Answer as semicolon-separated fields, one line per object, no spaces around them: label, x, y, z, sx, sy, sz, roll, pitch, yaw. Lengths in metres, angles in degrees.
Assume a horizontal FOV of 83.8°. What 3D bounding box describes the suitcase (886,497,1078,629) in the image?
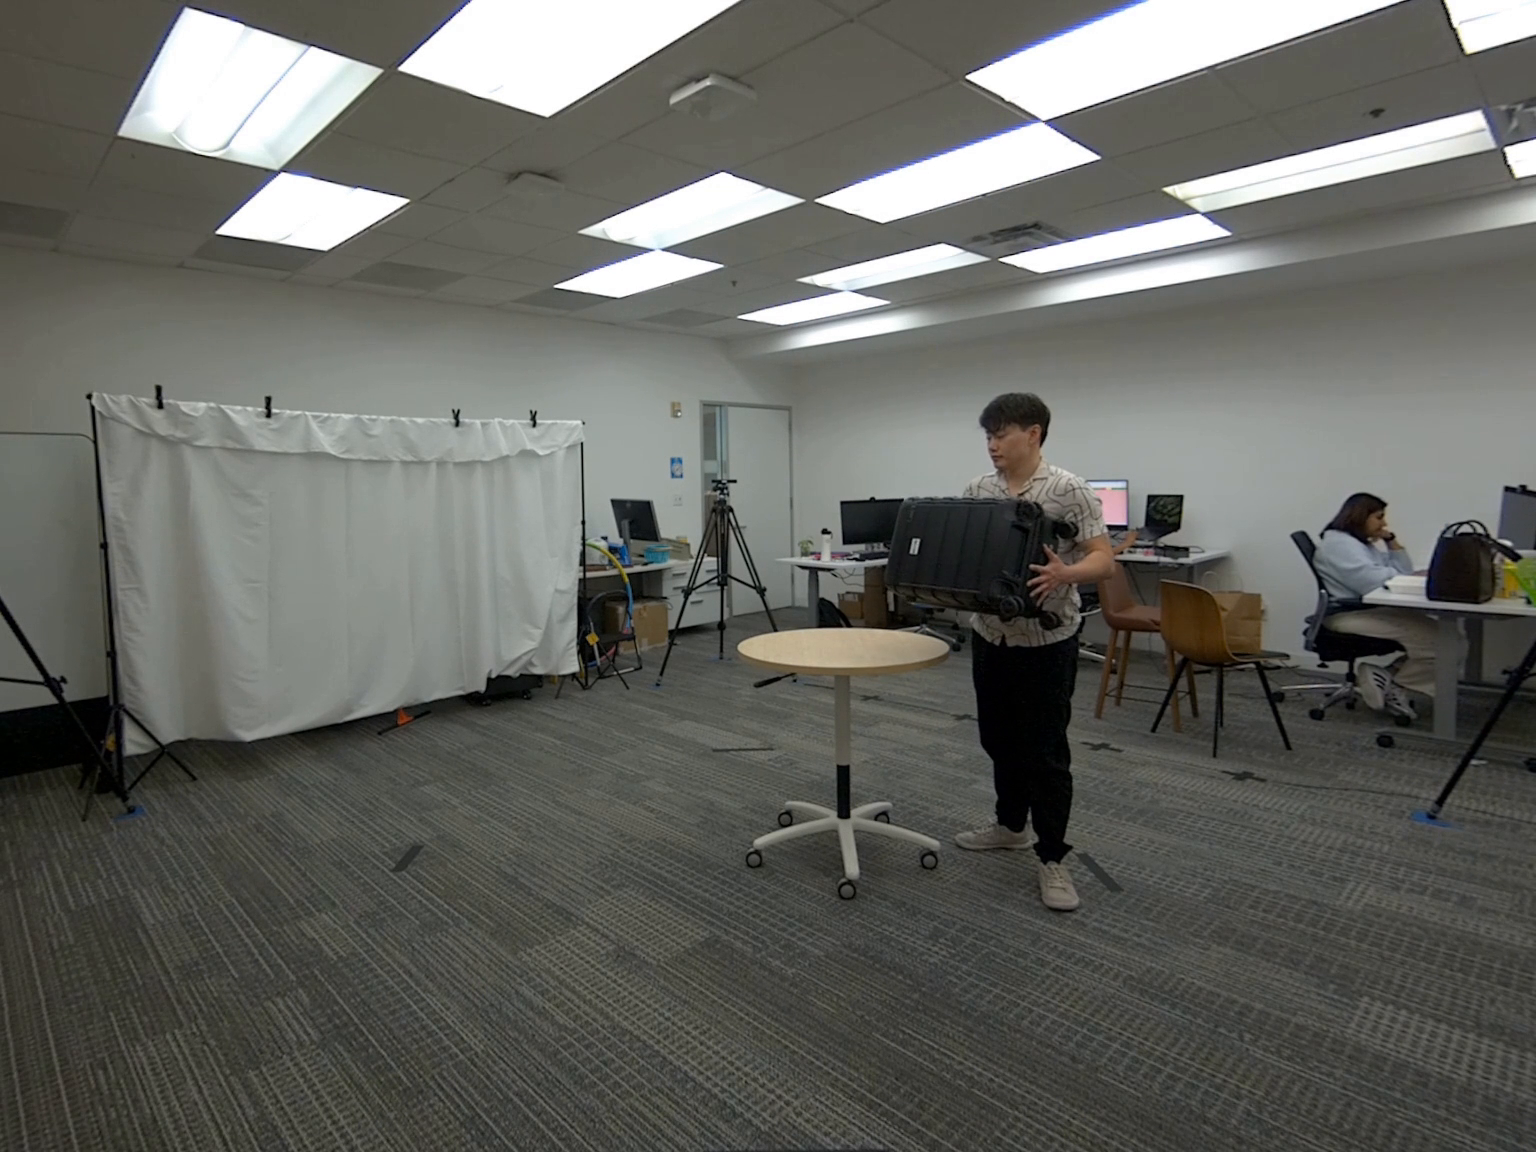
suitcase;0.665;-0.071;2.765;0.240;0.377;0.566;18;-7;-38
